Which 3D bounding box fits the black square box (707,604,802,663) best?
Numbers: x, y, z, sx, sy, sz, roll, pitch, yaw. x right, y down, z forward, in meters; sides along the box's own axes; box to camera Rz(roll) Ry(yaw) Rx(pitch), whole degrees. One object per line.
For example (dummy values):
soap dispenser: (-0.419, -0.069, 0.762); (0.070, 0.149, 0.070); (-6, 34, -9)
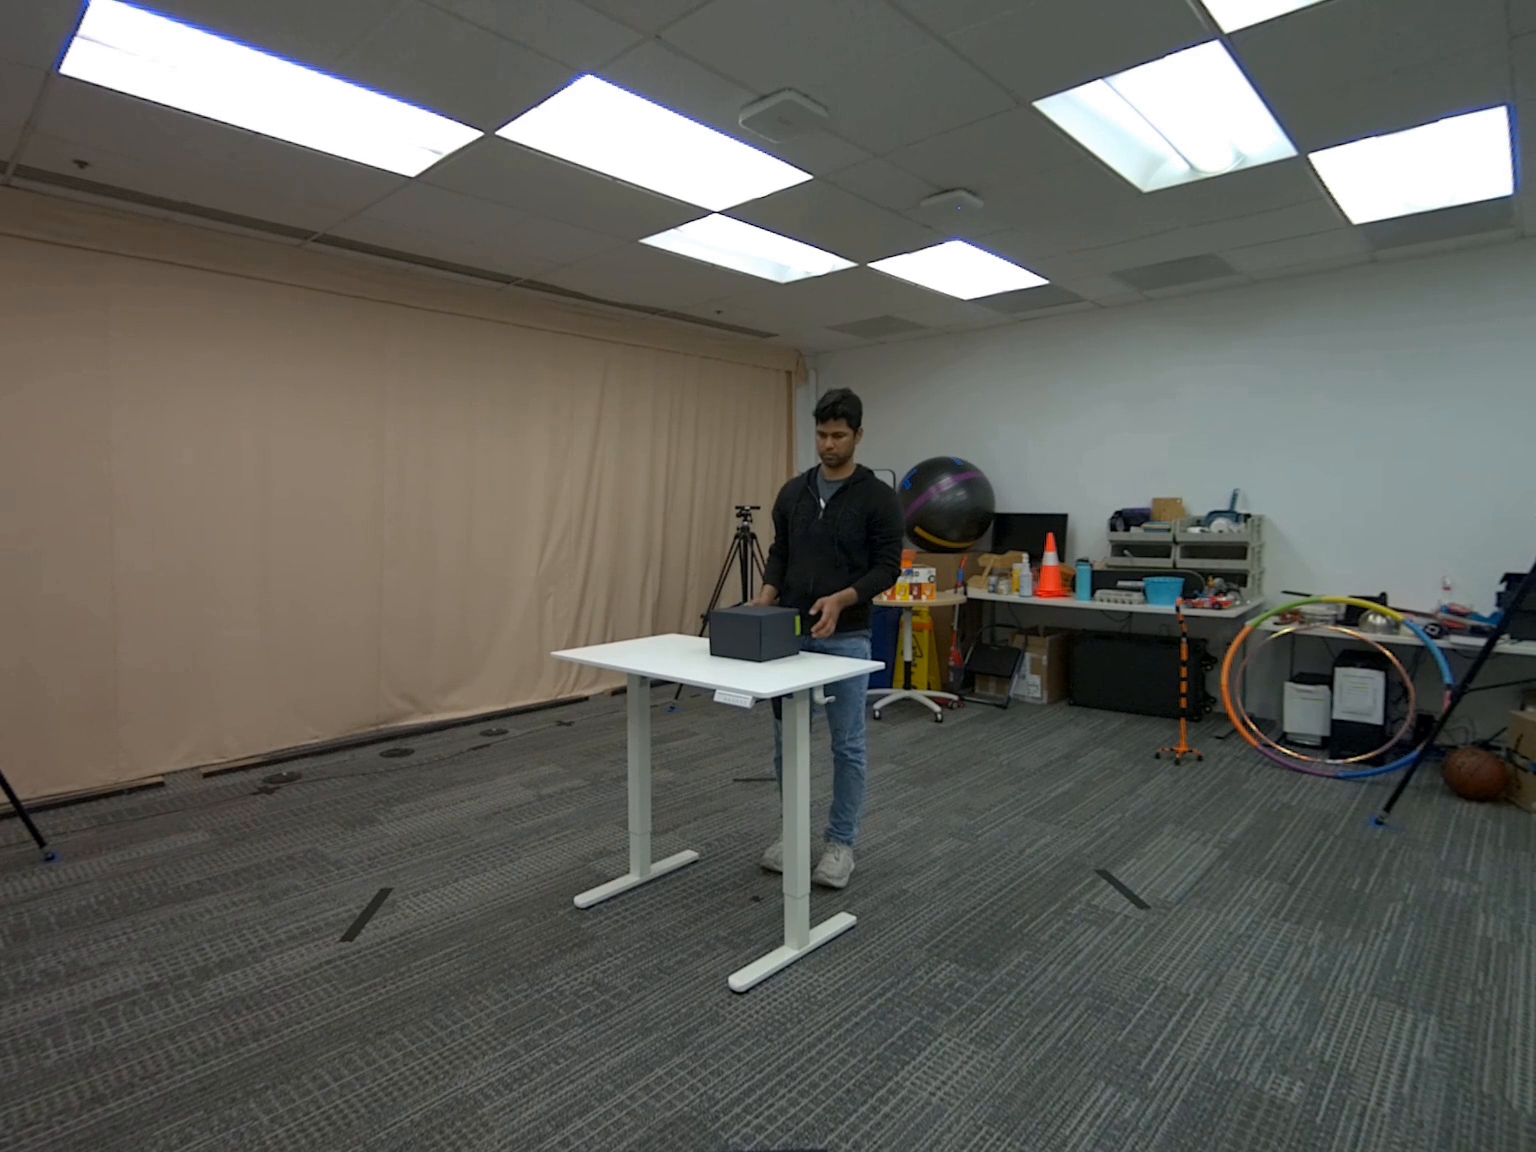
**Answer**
black square box: (-0.048, 0.193, 2.866); (0.235, 0.155, 0.210); (3, 5, 40)
